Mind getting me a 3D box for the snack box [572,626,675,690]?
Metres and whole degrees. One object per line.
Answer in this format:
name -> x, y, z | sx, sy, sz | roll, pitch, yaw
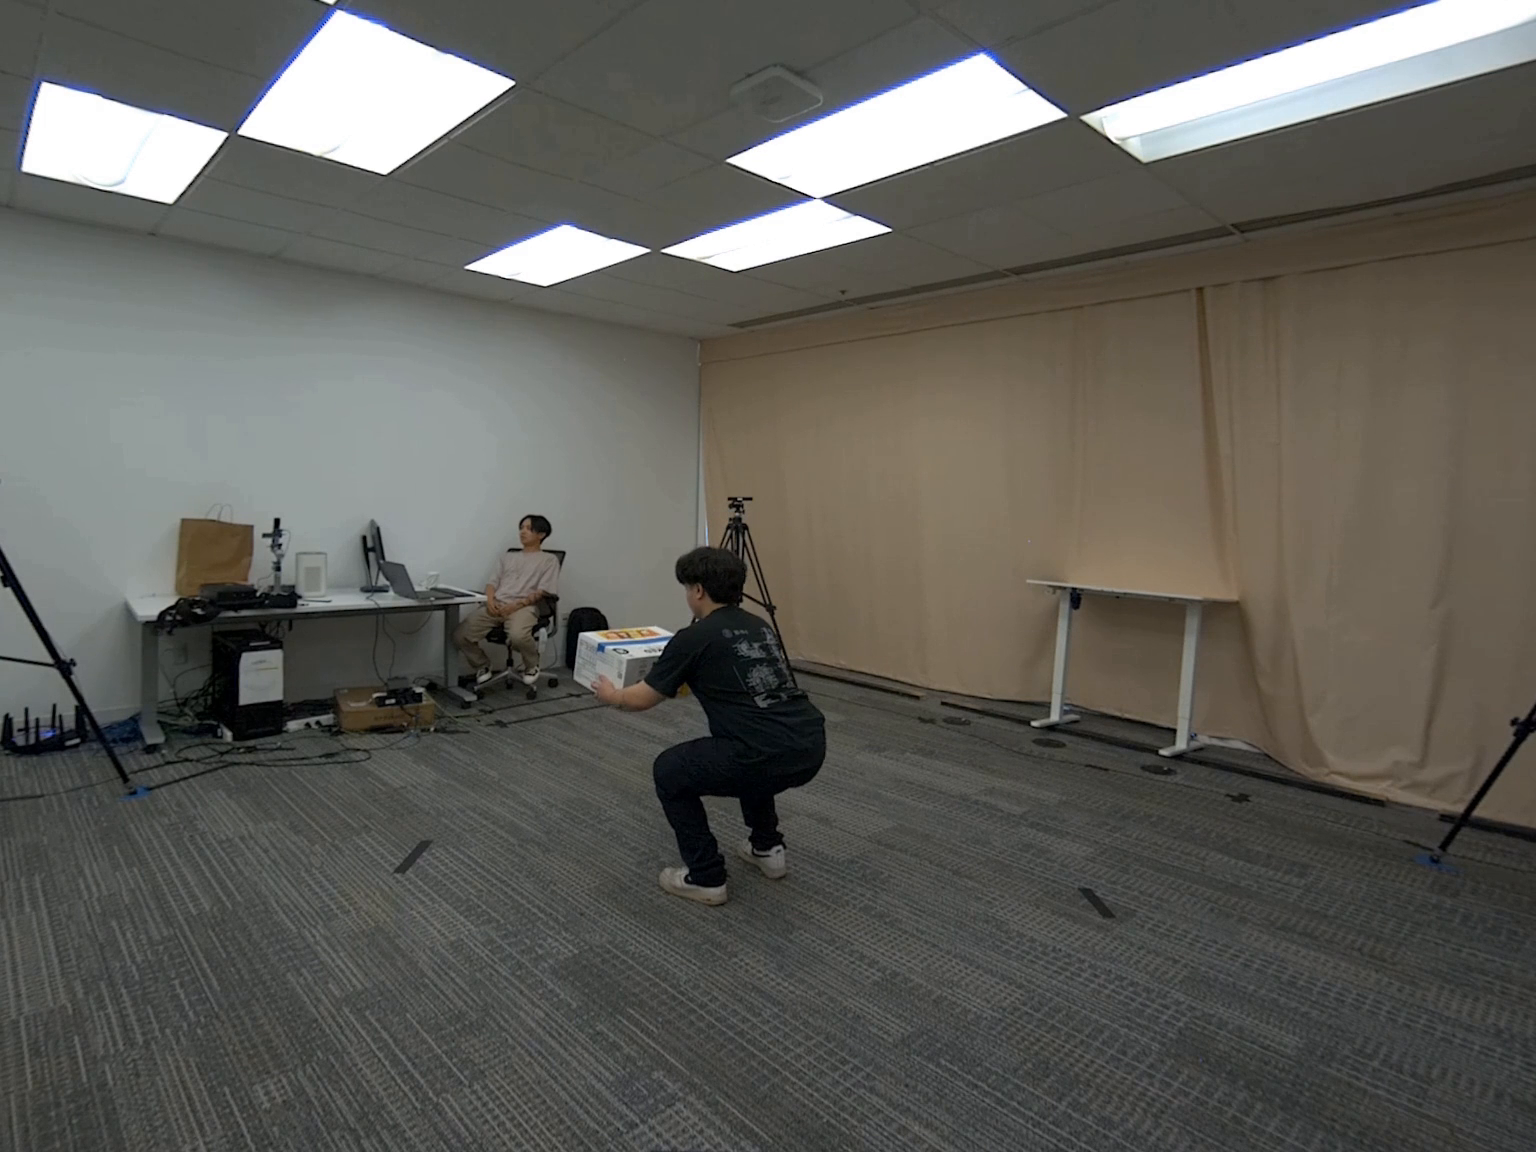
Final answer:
snack box -> -0.532, 0.366, 3.462 | 0.396, 0.204, 0.350 | -2, 15, -45
